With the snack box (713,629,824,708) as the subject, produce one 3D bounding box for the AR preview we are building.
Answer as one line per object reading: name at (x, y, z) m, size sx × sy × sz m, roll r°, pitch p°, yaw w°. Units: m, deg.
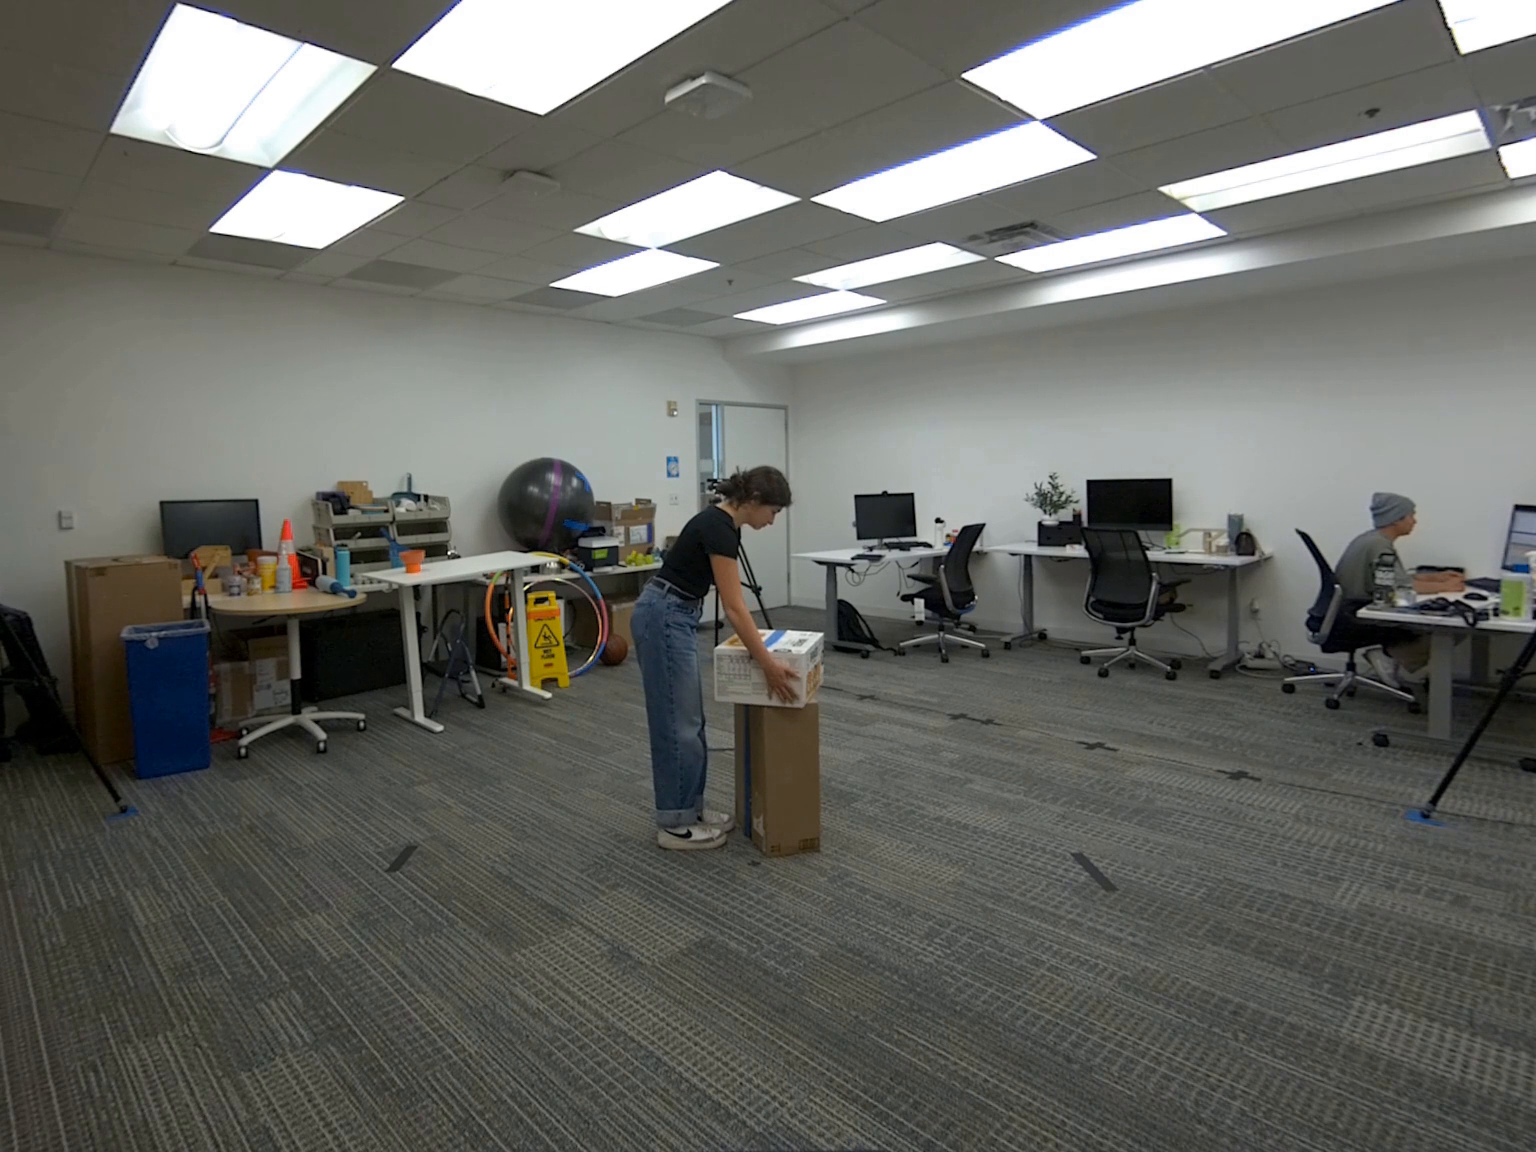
snack box at (0.010, 0.344, 3.305) m, size 0.346 × 0.205 × 0.401 m, roll 1°, pitch 7°, yaw 16°
